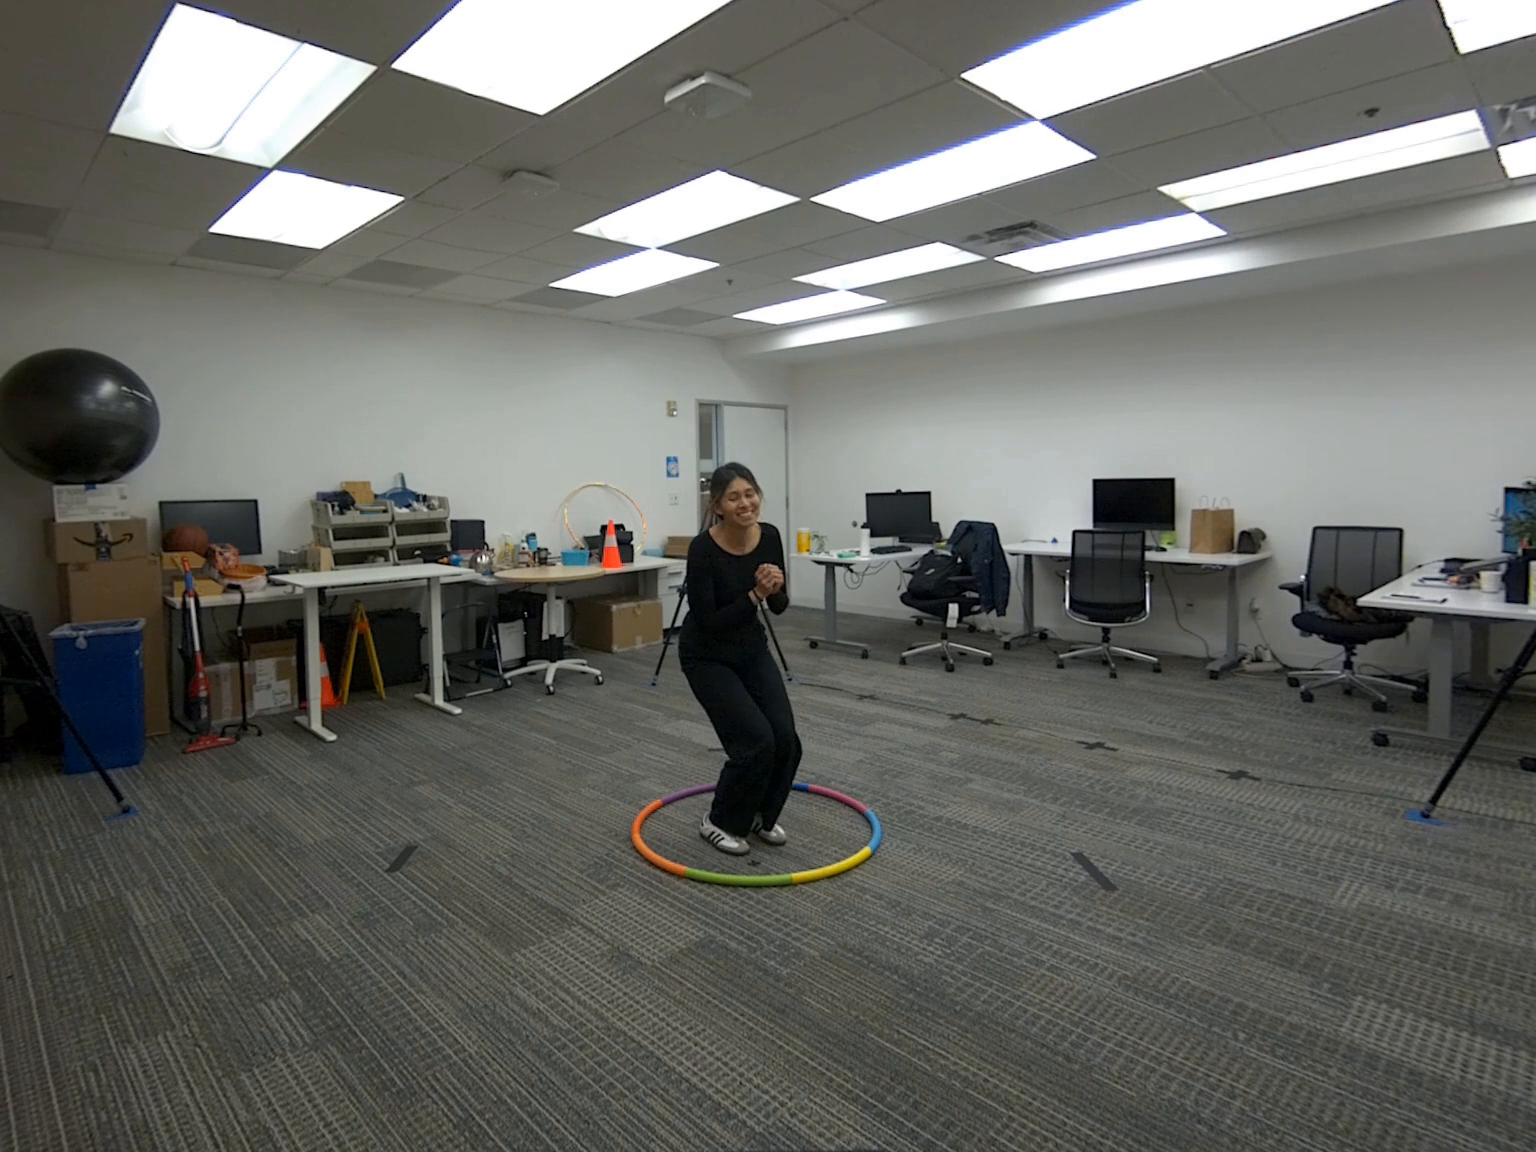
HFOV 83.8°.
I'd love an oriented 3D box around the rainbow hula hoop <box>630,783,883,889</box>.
[{"bbox_3d":[-0.048,0.983,3.400,0.978,0.035,0.984,-1,6,-2],"label":"rainbow hula hoop"}]
